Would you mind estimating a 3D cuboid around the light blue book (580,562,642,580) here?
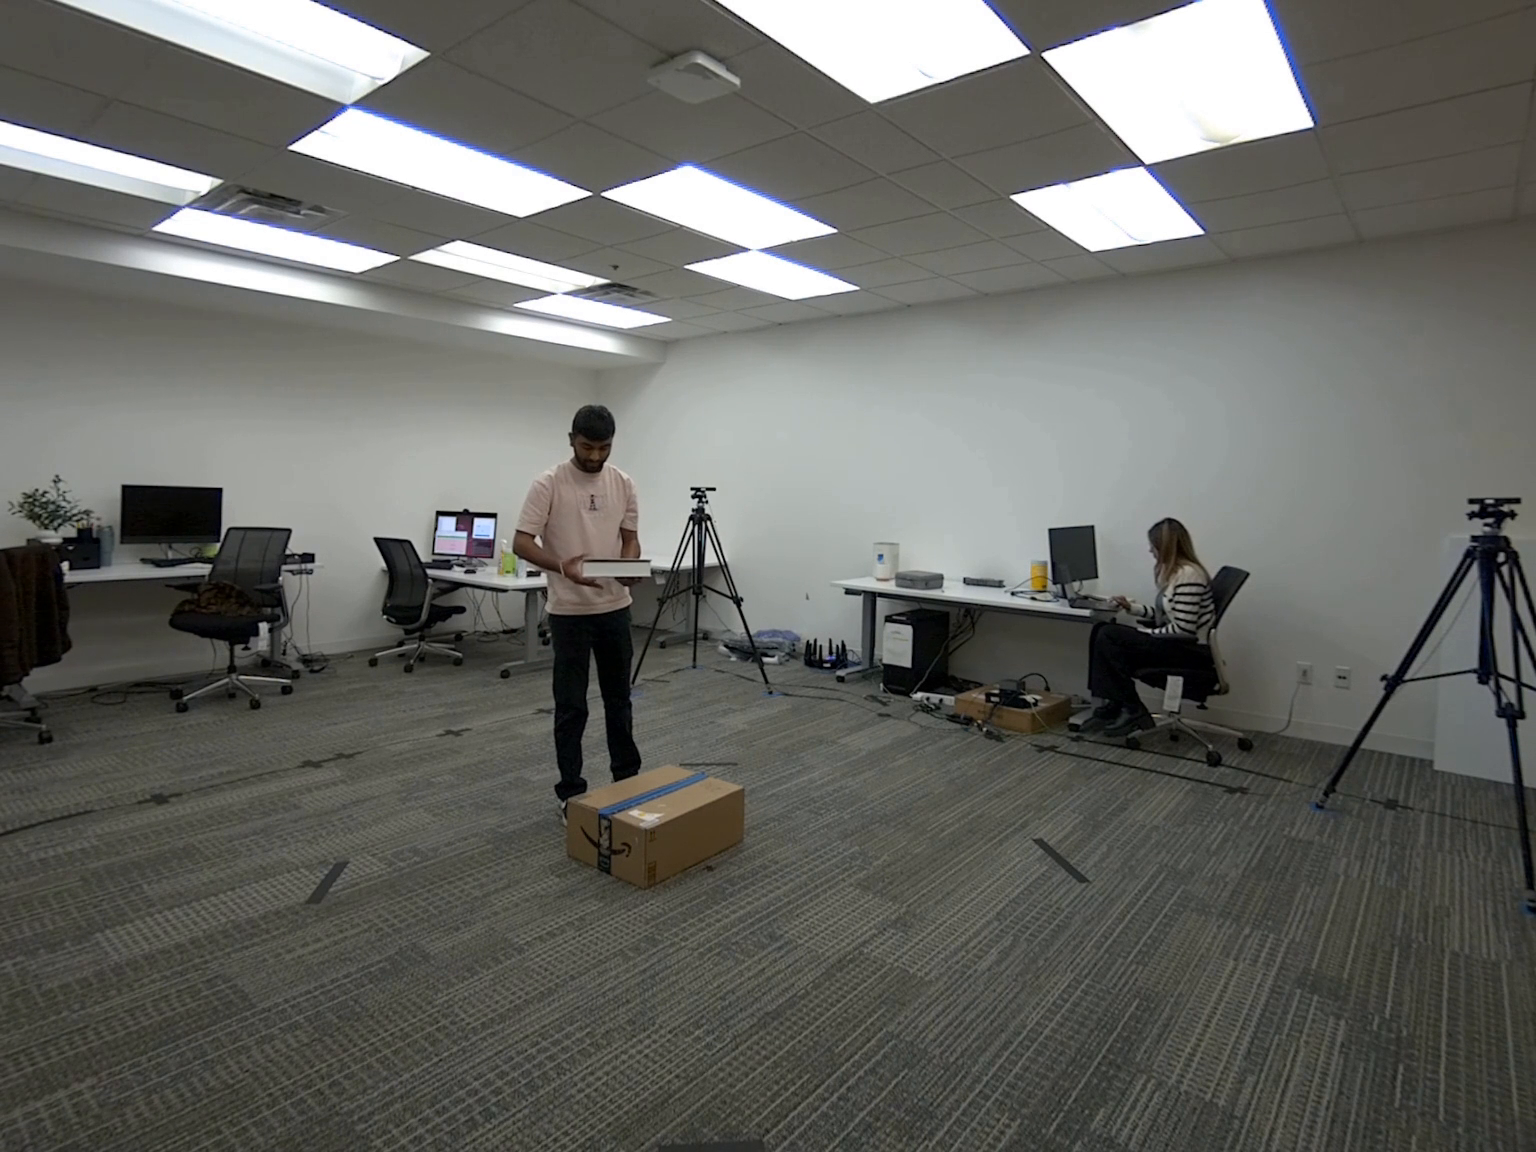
[{"bbox_3d":[-0.653,-0.021,3.336,0.196,0.059,0.254,0,-1,24],"label":"light blue book"}]
